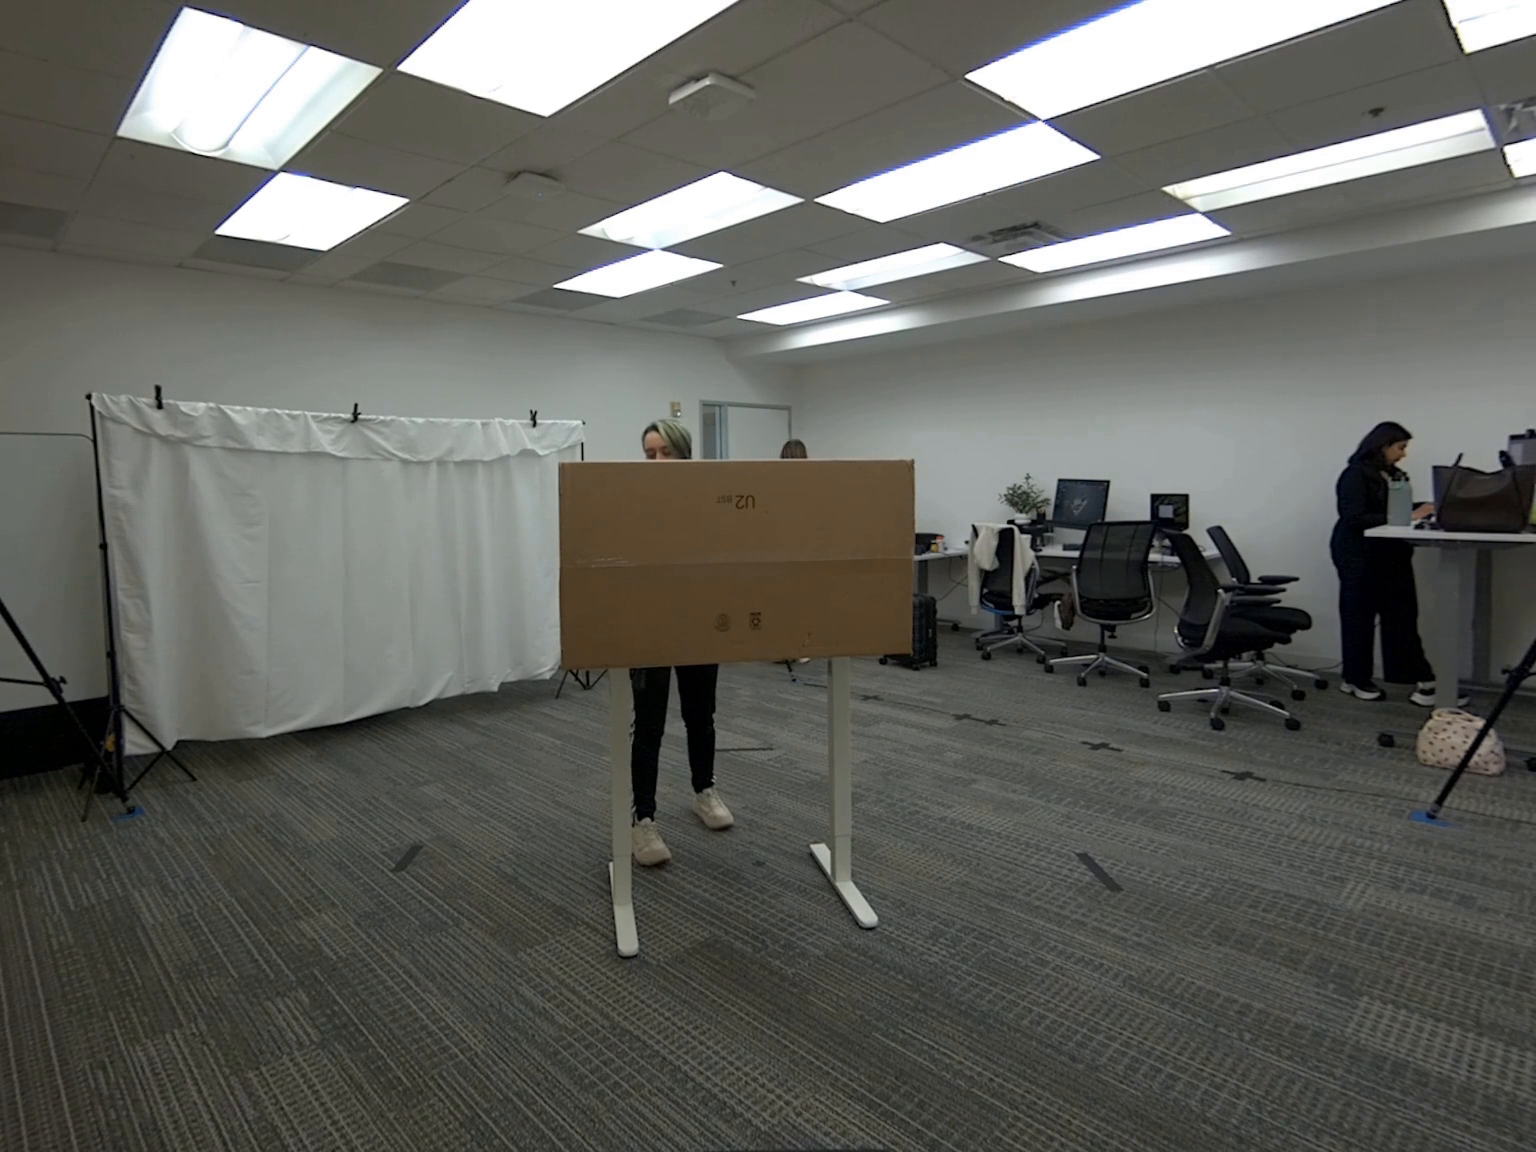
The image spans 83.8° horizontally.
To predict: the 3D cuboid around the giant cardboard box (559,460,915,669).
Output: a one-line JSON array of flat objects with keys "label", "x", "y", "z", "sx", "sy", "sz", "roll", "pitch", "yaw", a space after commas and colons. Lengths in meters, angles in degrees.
[{"label": "giant cardboard box", "x": -0.116, "y": -0.064, "z": 2.622, "sx": 1.017, "sy": 0.581, "sz": 0.454, "roll": -1, "pitch": 6, "yaw": -11}]
